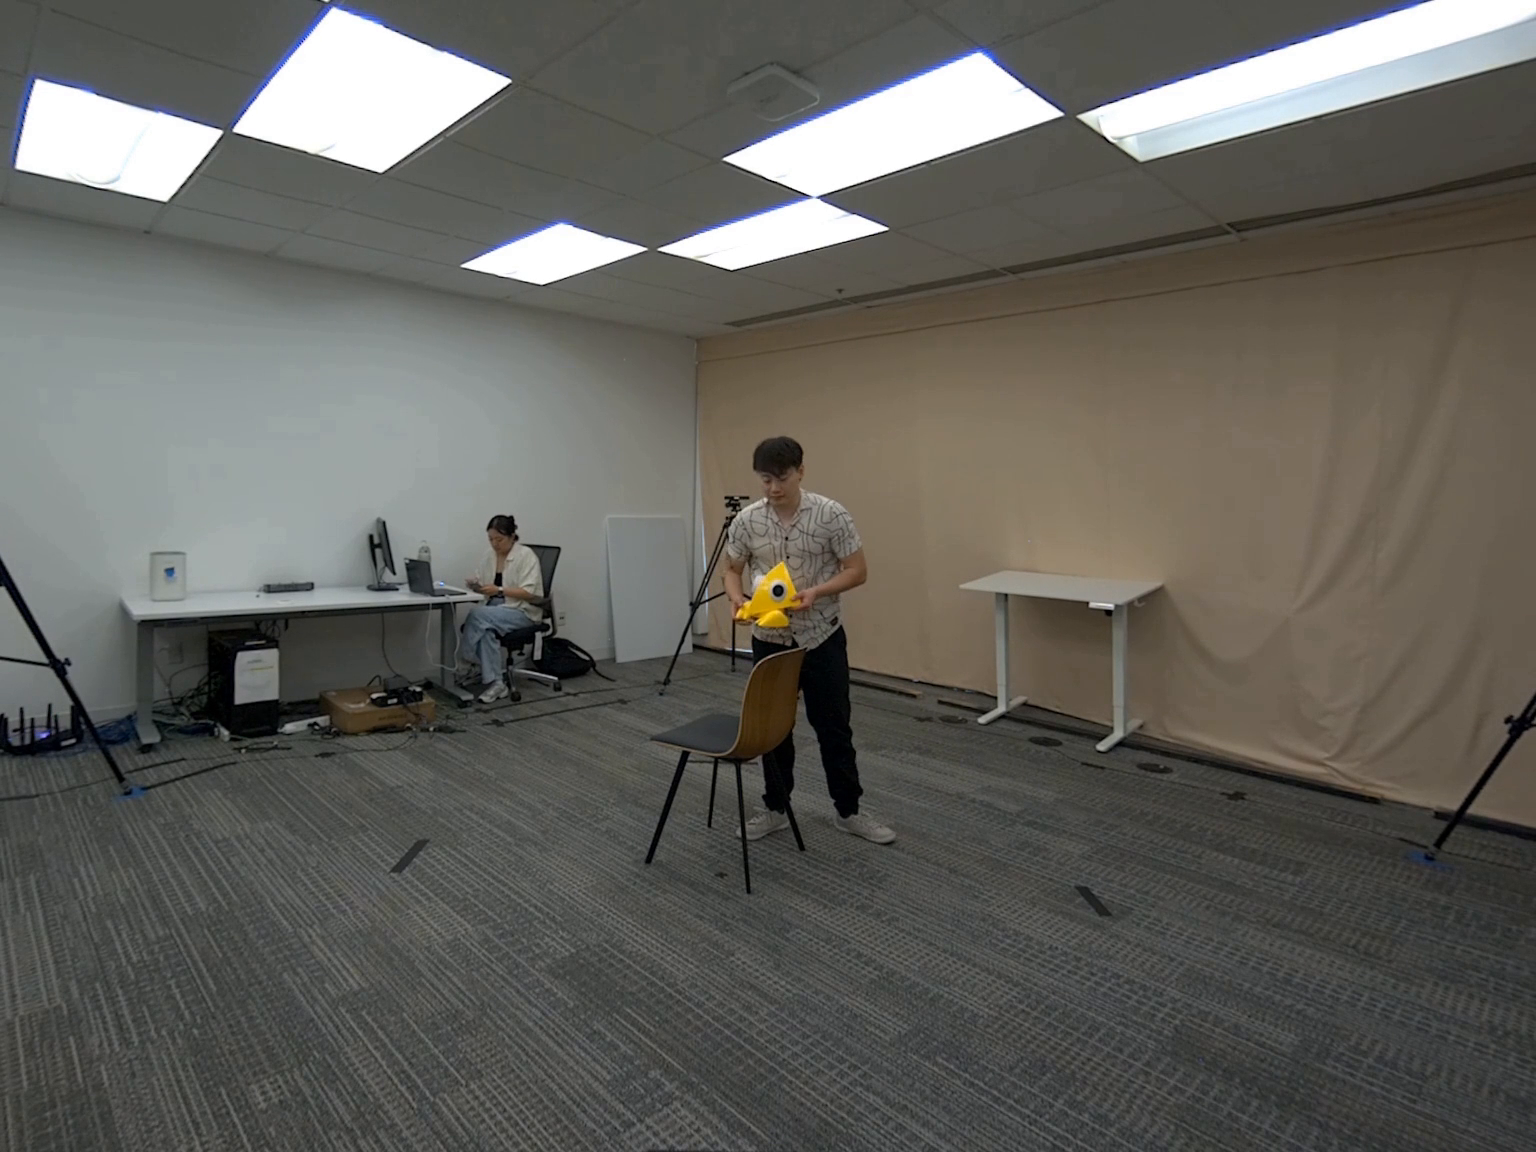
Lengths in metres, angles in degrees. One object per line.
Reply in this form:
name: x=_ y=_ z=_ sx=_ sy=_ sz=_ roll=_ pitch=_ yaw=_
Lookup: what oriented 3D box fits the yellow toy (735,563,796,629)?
yellow toy: x=-0.008 y=0.061 z=3.251 sx=0.188 sy=0.229 sz=0.211 roll=0 pitch=11 yaw=-43
